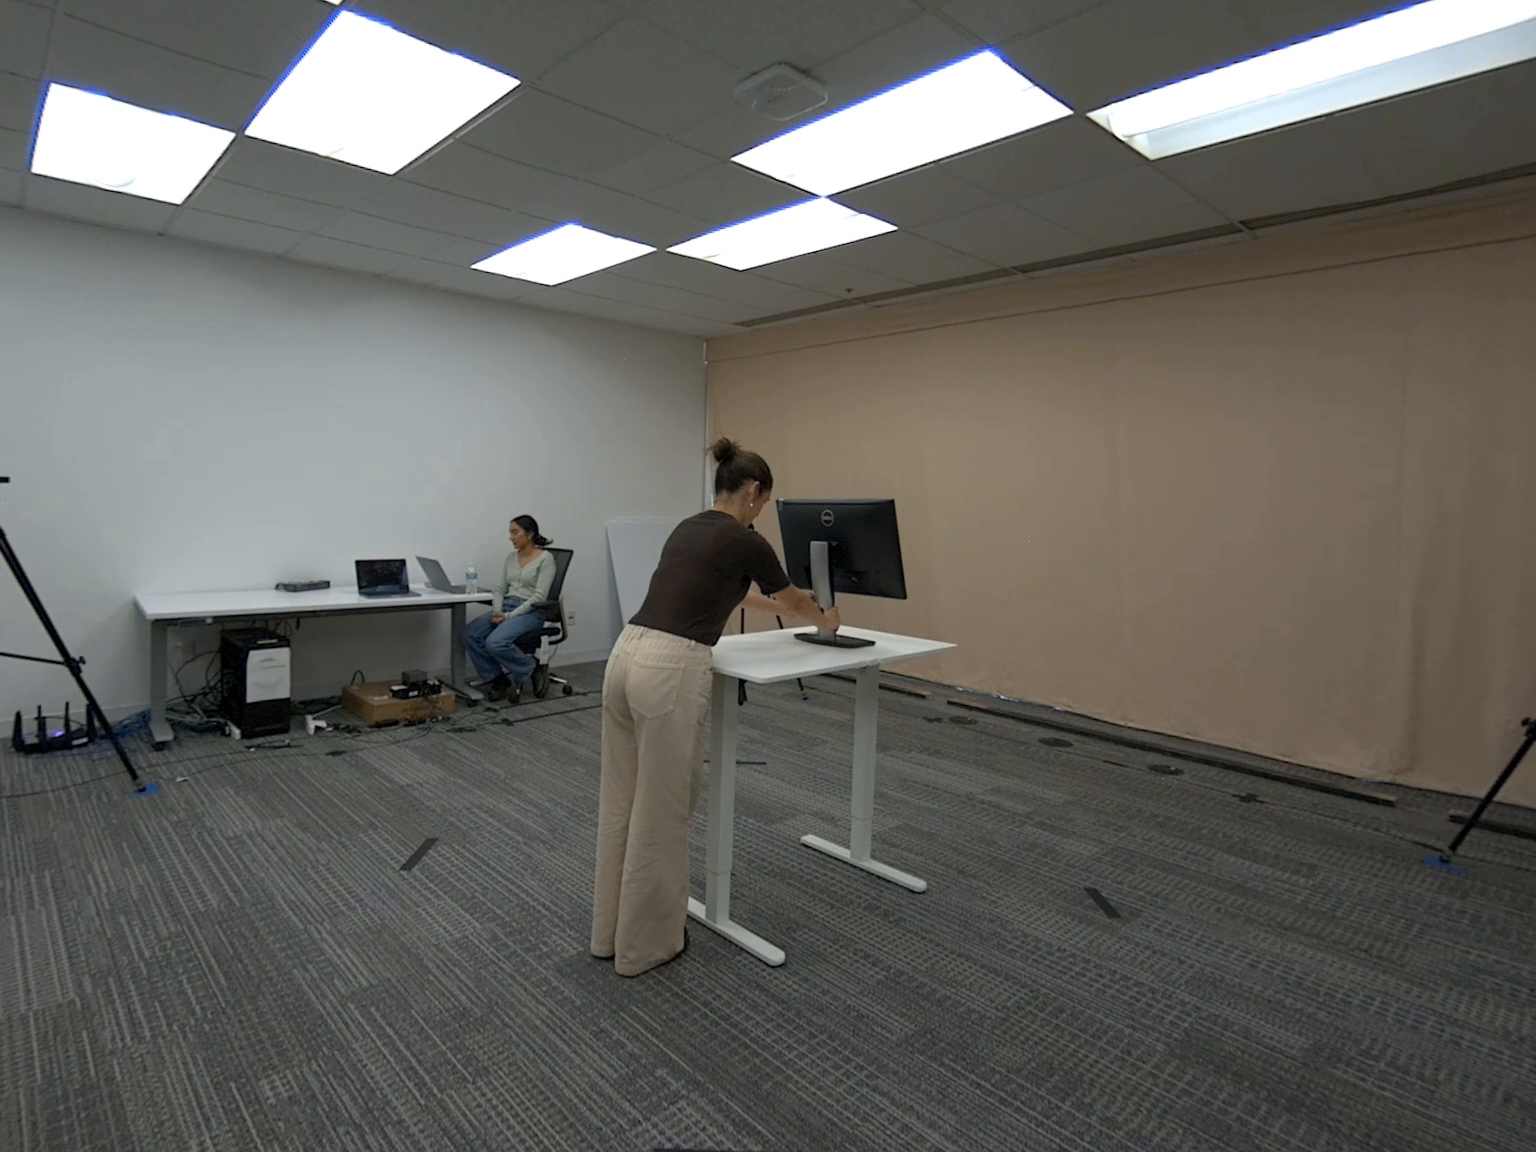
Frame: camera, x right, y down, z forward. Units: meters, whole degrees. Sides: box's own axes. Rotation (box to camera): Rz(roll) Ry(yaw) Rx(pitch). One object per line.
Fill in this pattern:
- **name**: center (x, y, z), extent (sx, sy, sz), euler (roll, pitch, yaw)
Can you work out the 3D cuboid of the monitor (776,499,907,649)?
- **monitor**: center (0.232, -0.017, 3.011), extent (0.543, 0.516, 0.170), euler (3, 1, 44)
